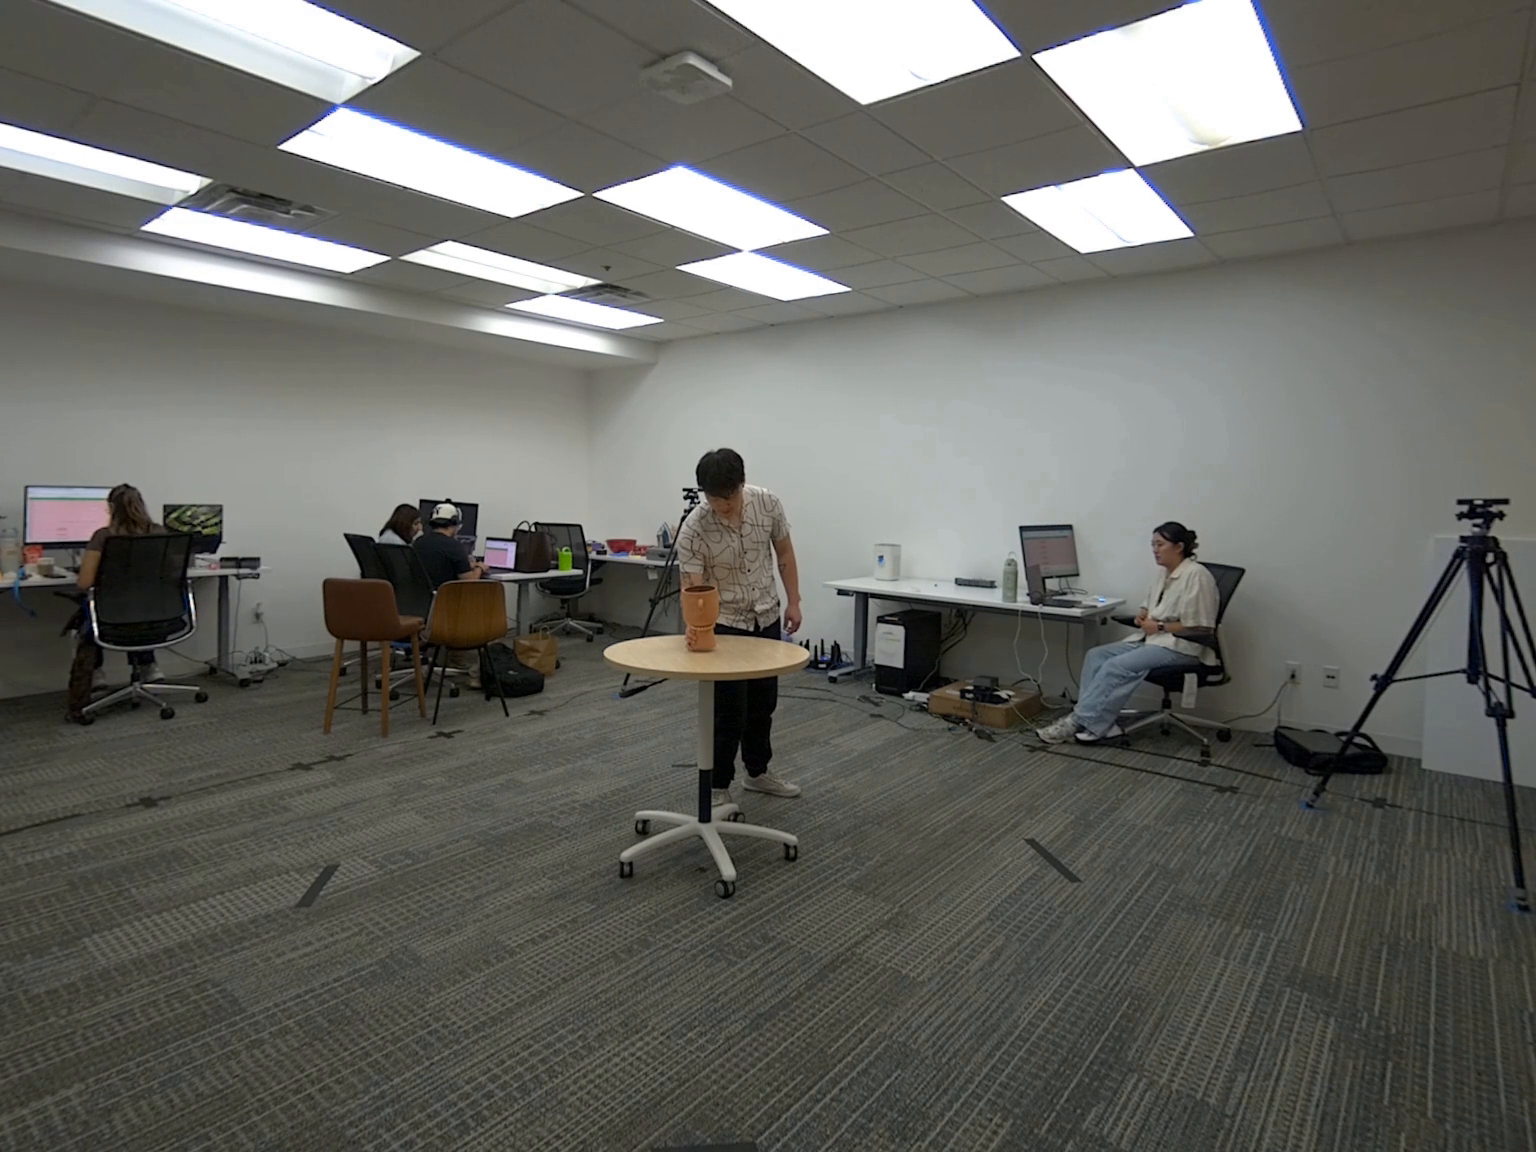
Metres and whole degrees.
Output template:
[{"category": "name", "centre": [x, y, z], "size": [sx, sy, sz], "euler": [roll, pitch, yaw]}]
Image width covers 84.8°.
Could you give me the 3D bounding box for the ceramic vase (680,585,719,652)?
[{"category": "ceramic vase", "centre": [-0.265, 0.154, 3.175], "size": [0.139, 0.217, 0.156], "euler": [2, 13, 34]}]
